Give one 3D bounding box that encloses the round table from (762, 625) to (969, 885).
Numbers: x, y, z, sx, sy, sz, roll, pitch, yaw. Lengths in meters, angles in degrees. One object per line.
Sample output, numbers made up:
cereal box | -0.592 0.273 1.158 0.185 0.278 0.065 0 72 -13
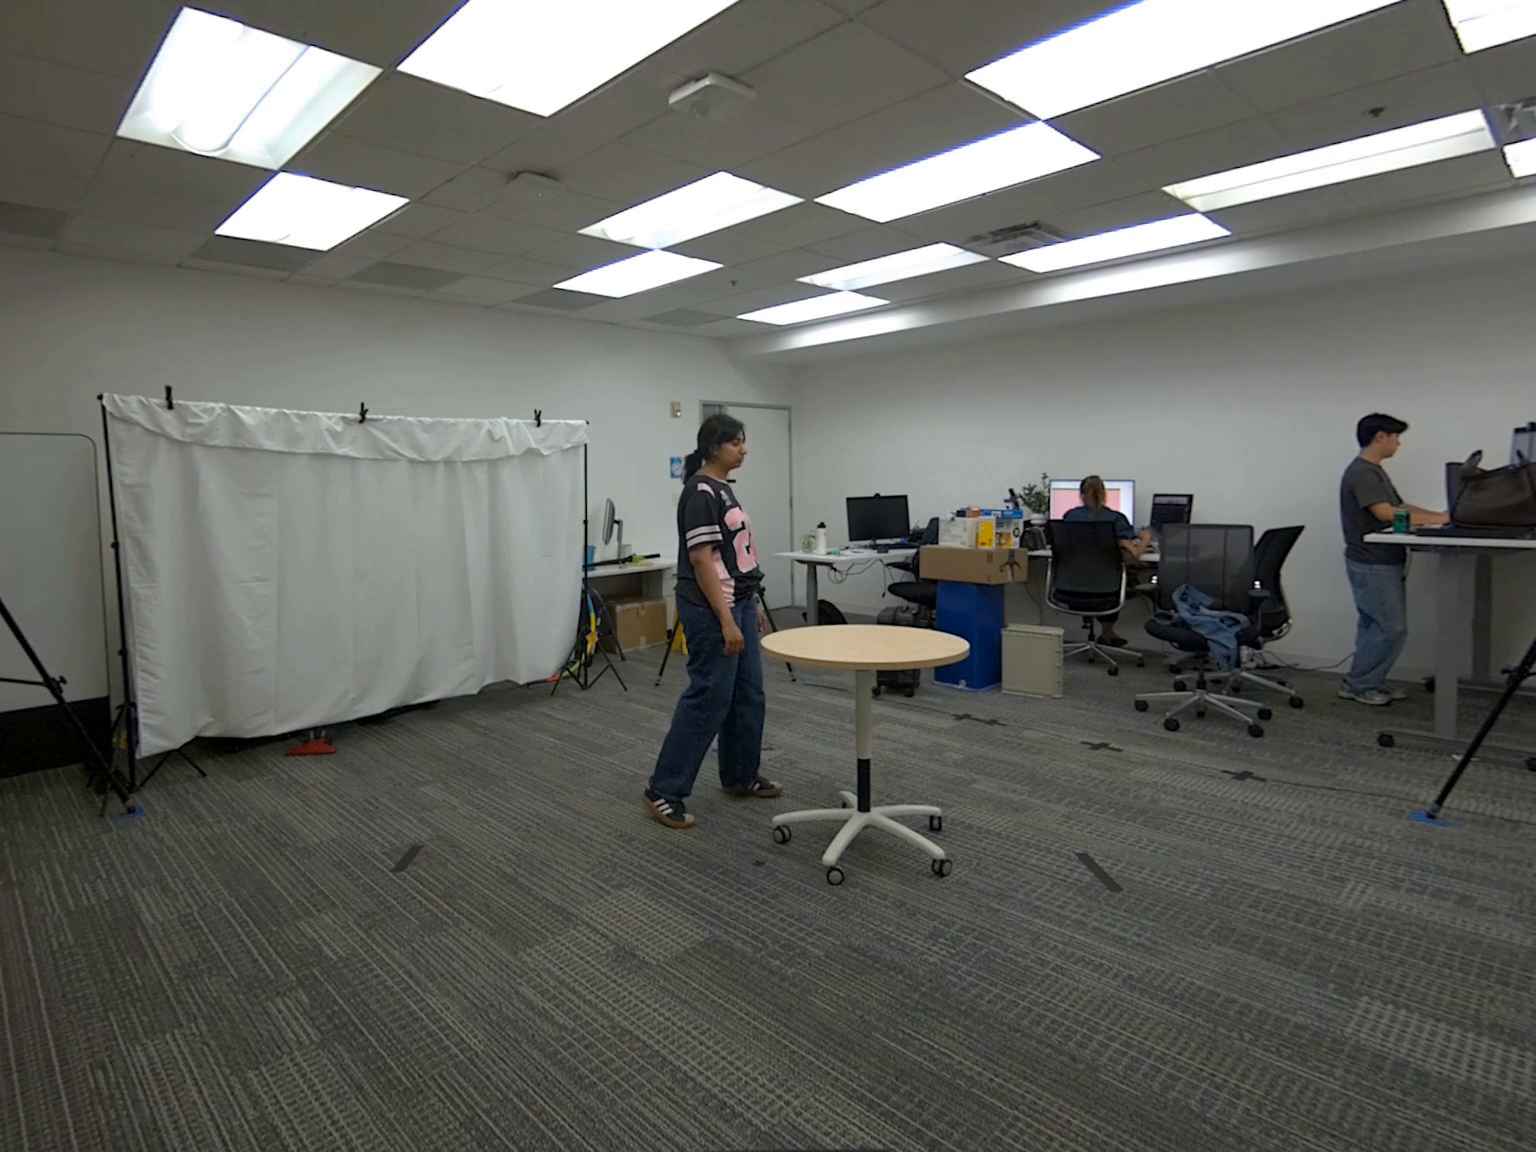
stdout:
round table | 0.365 0.640 3.207 0.763 0.791 0.768 -1 5 -2
